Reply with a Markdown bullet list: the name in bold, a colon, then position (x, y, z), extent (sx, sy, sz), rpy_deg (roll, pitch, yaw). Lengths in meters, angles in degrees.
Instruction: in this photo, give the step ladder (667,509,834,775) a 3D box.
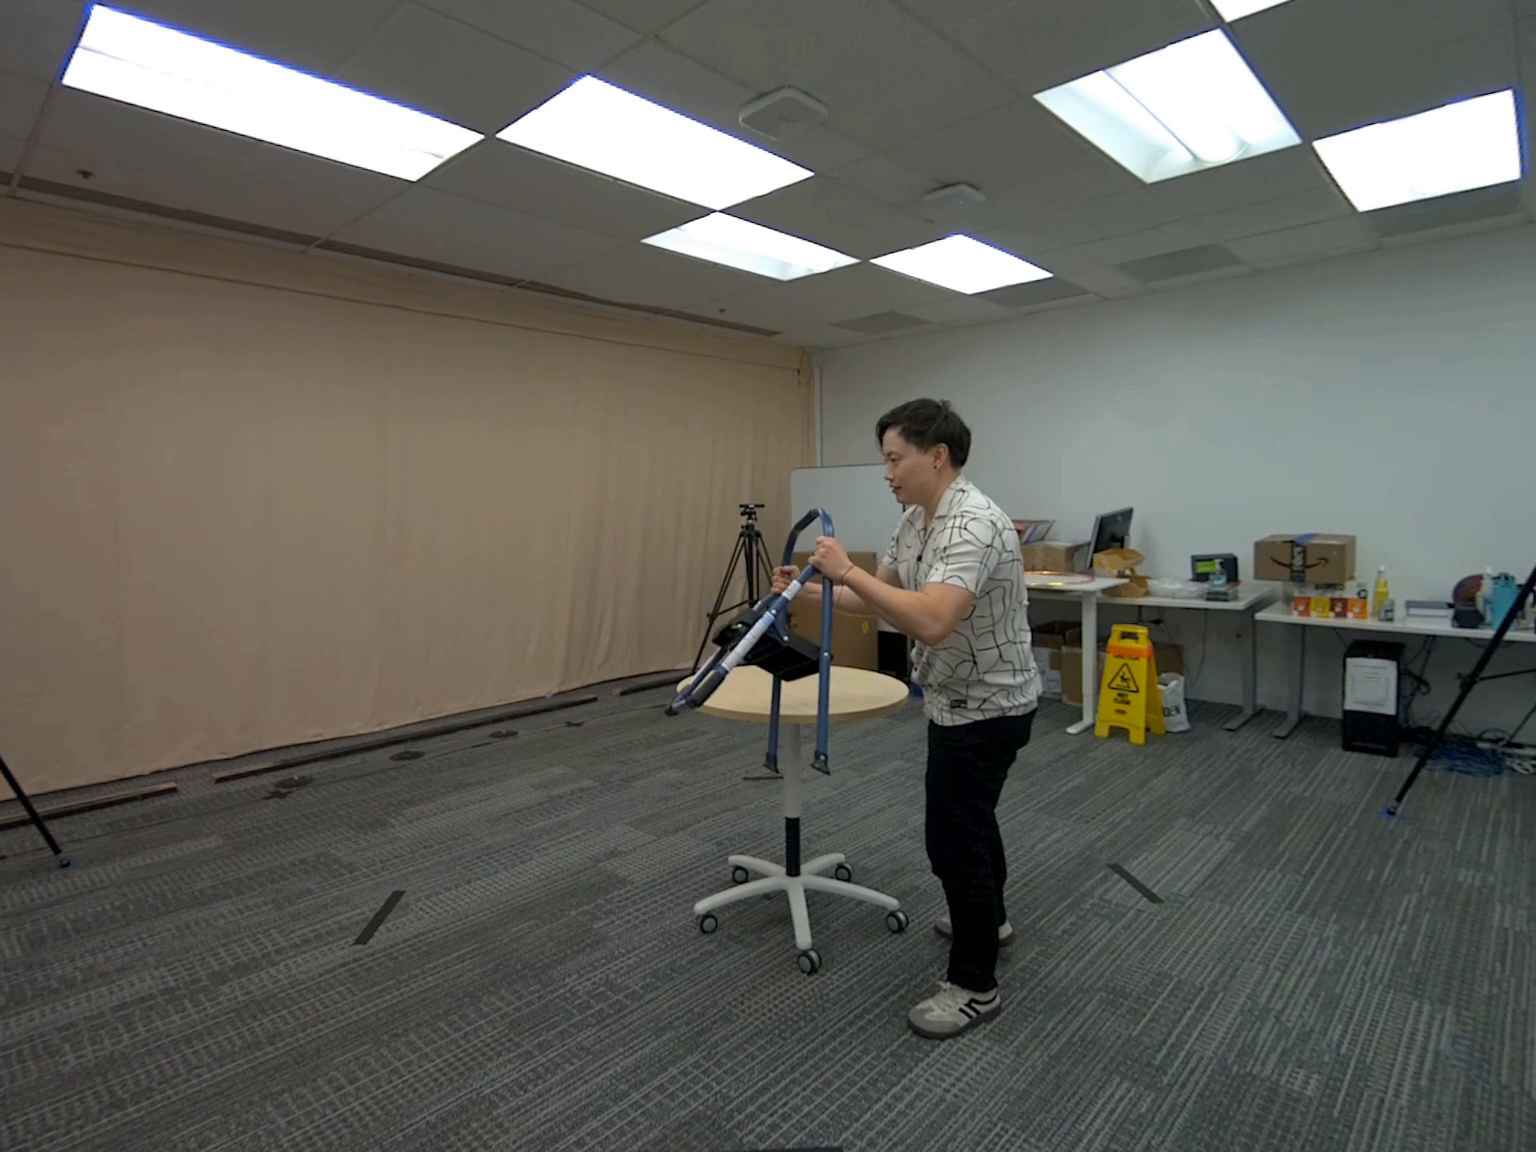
- **step ladder**: position (0.050, 0.143, 2.147), extent (0.346, 0.607, 0.434), rpy_deg (27, -19, -9)
